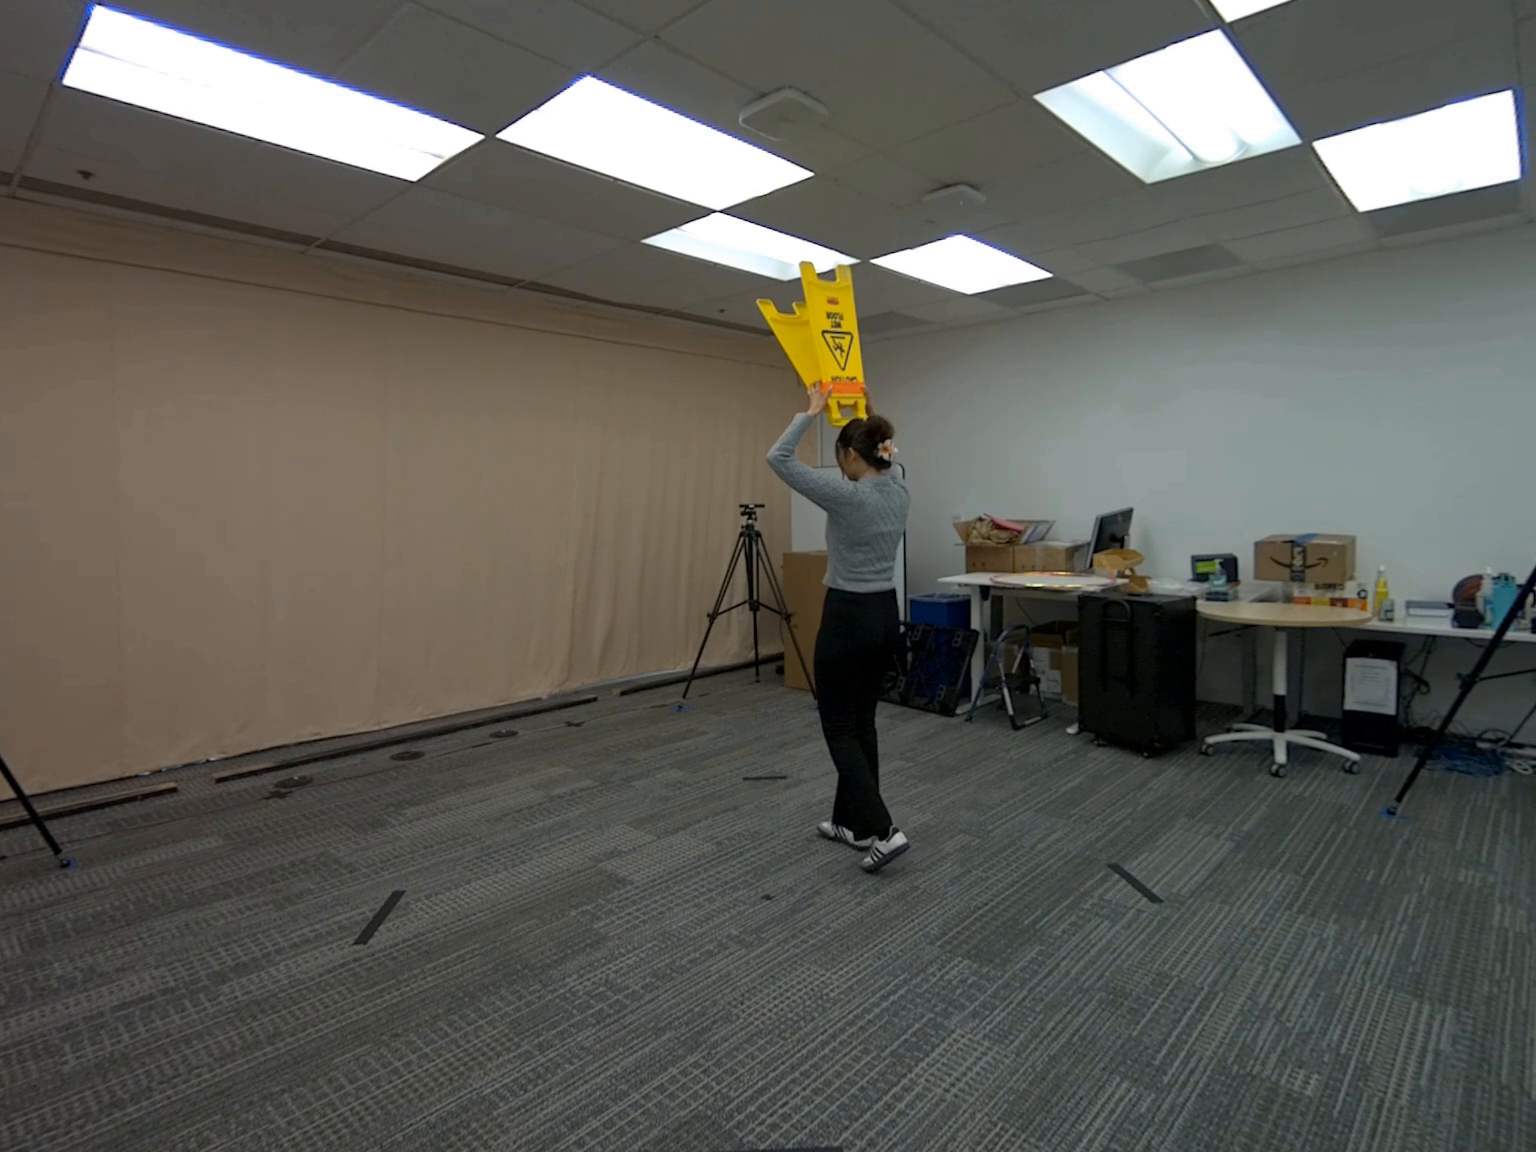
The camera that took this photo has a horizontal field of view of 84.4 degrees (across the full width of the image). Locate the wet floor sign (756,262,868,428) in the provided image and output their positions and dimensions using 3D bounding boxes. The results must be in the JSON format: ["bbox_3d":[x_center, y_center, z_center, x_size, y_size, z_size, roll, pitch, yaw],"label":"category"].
[{"bbox_3d":[0.241,-0.899,3.407,0.274,0.653,0.295,-8,-14,-38],"label":"wet floor sign"}]
